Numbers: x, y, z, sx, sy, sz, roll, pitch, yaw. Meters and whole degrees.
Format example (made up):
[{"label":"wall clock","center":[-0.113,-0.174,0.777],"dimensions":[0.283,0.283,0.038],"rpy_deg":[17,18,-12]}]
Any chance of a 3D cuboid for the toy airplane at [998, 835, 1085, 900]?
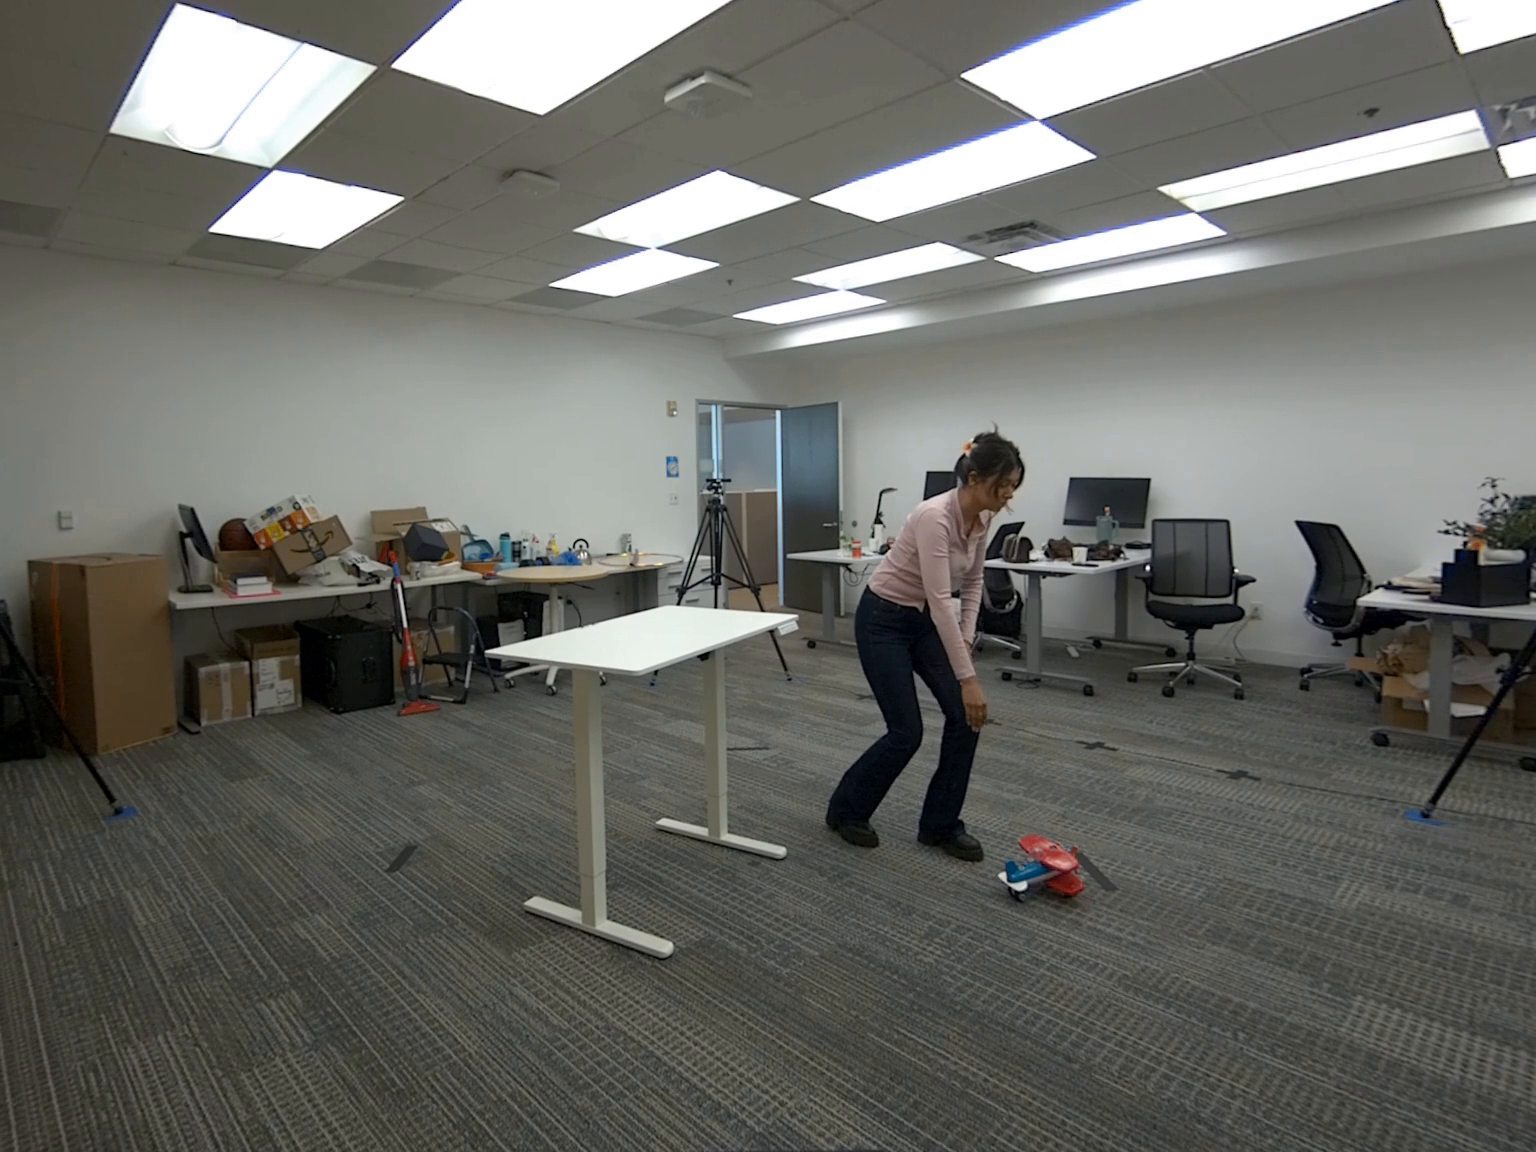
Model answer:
[{"label":"toy airplane","center":[0.917,0.988,2.823],"dimensions":[0.259,0.156,0.252],"rpy_deg":[5,6,44]}]
